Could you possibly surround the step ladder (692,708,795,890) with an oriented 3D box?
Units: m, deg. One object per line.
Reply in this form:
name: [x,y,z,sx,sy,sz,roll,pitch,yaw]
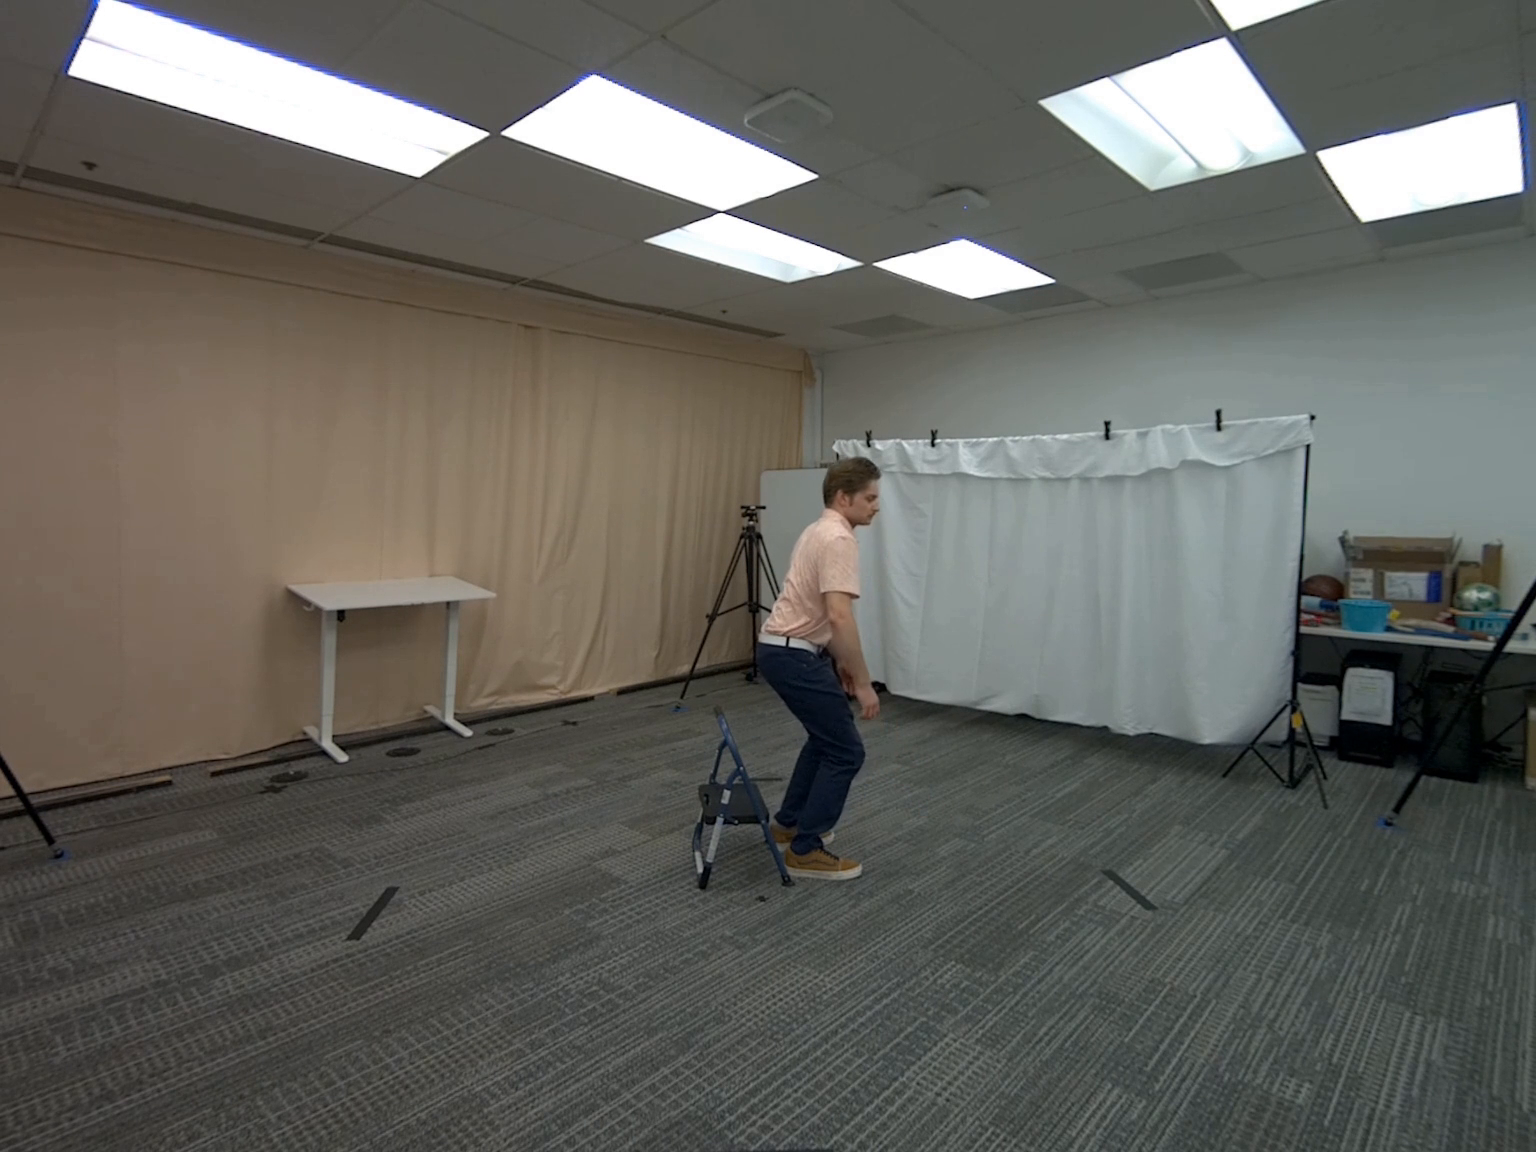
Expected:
step ladder: [-0.113,0.826,3.259,0.346,0.605,0.435,-1,3,-9]
